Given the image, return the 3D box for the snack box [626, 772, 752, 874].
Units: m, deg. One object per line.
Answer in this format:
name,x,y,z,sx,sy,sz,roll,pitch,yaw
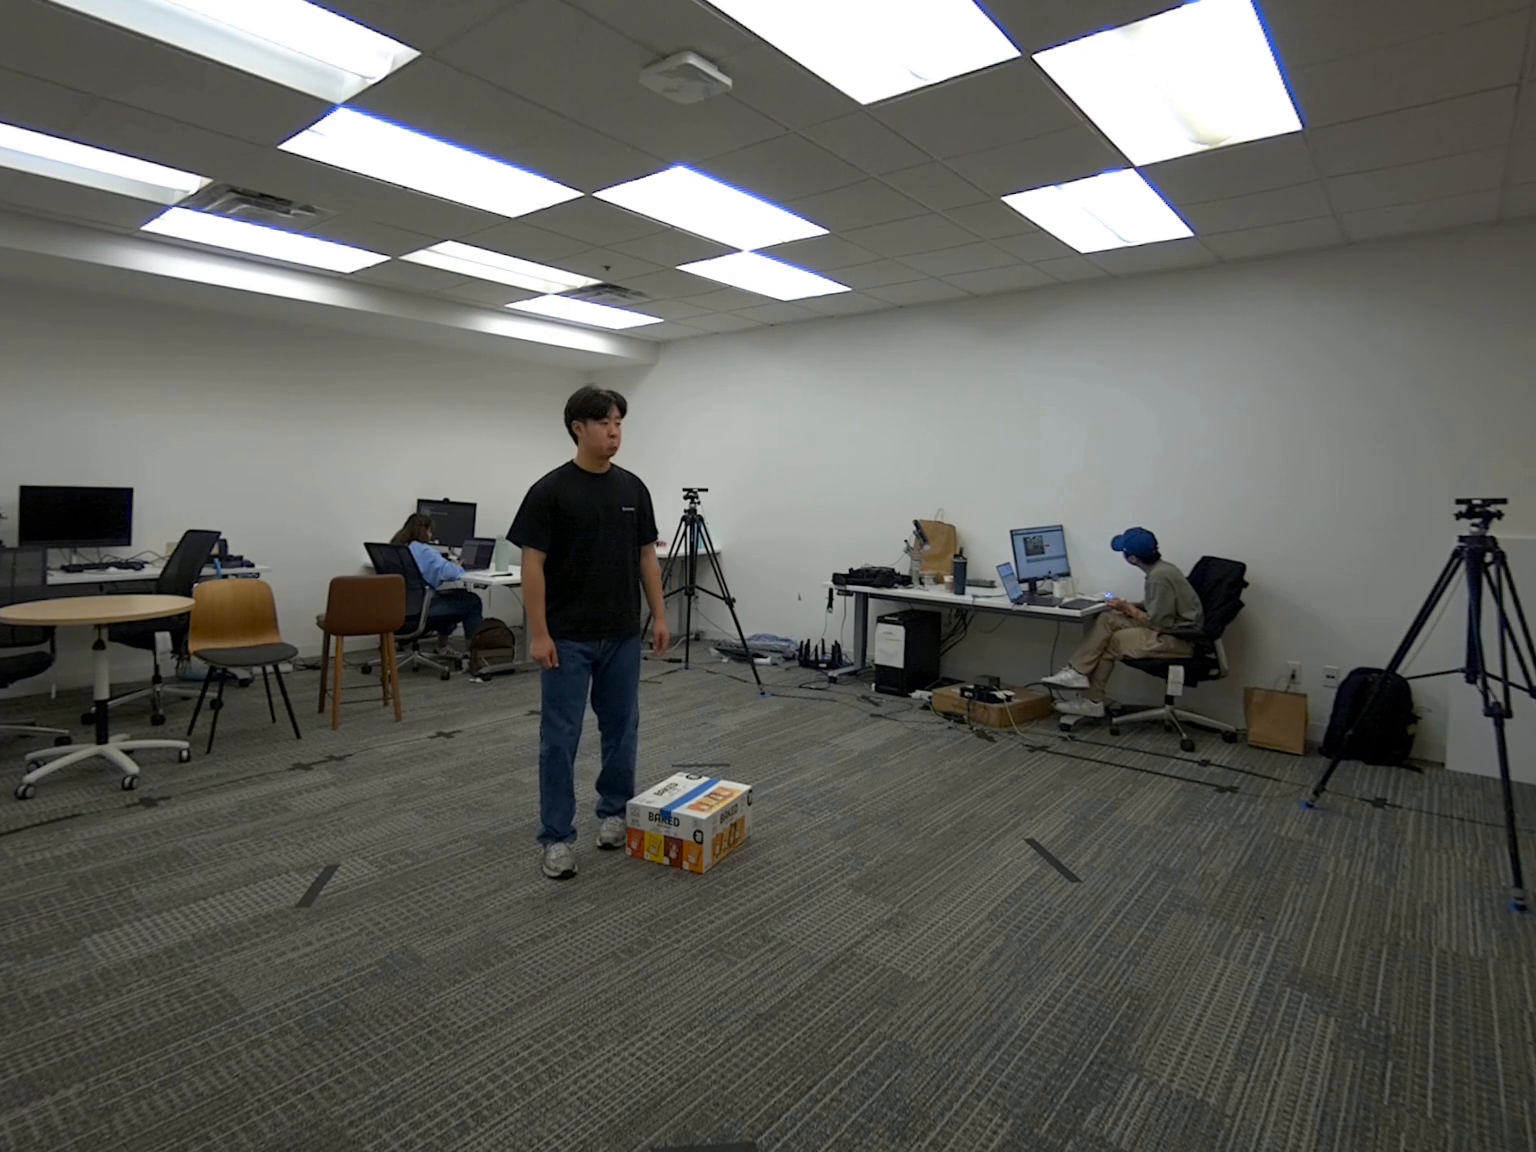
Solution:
snack box,-0.311,0.949,3.314,0.349,0.205,0.396,4,6,26
